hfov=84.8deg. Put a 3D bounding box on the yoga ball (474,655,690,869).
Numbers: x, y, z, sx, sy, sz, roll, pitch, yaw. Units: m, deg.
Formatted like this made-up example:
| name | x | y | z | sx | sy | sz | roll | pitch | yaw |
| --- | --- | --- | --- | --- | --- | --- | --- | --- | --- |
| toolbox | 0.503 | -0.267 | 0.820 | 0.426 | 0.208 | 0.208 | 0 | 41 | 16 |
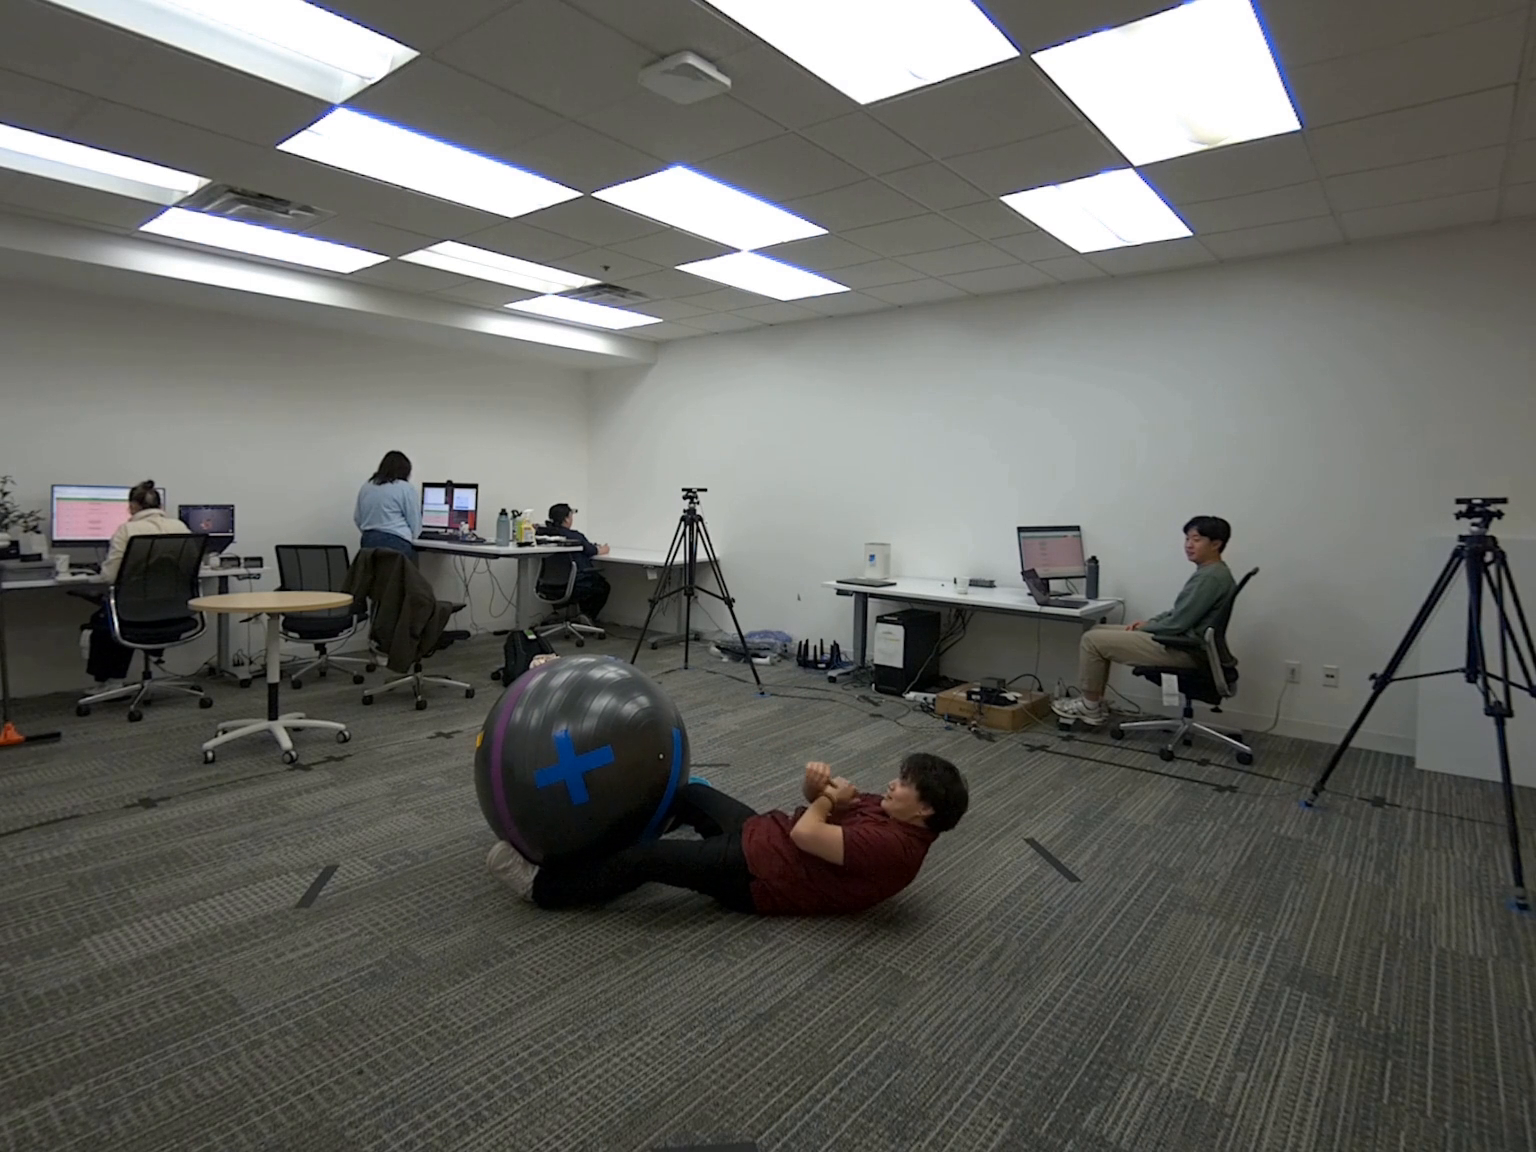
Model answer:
| name | x | y | z | sx | sy | sz | roll | pitch | yaw |
| --- | --- | --- | --- | --- | --- | --- | --- | --- | --- |
| yoga ball | -0.670 | 0.662 | 3.034 | 0.757 | 0.755 | 0.762 | 1 | 4 | -2 |
